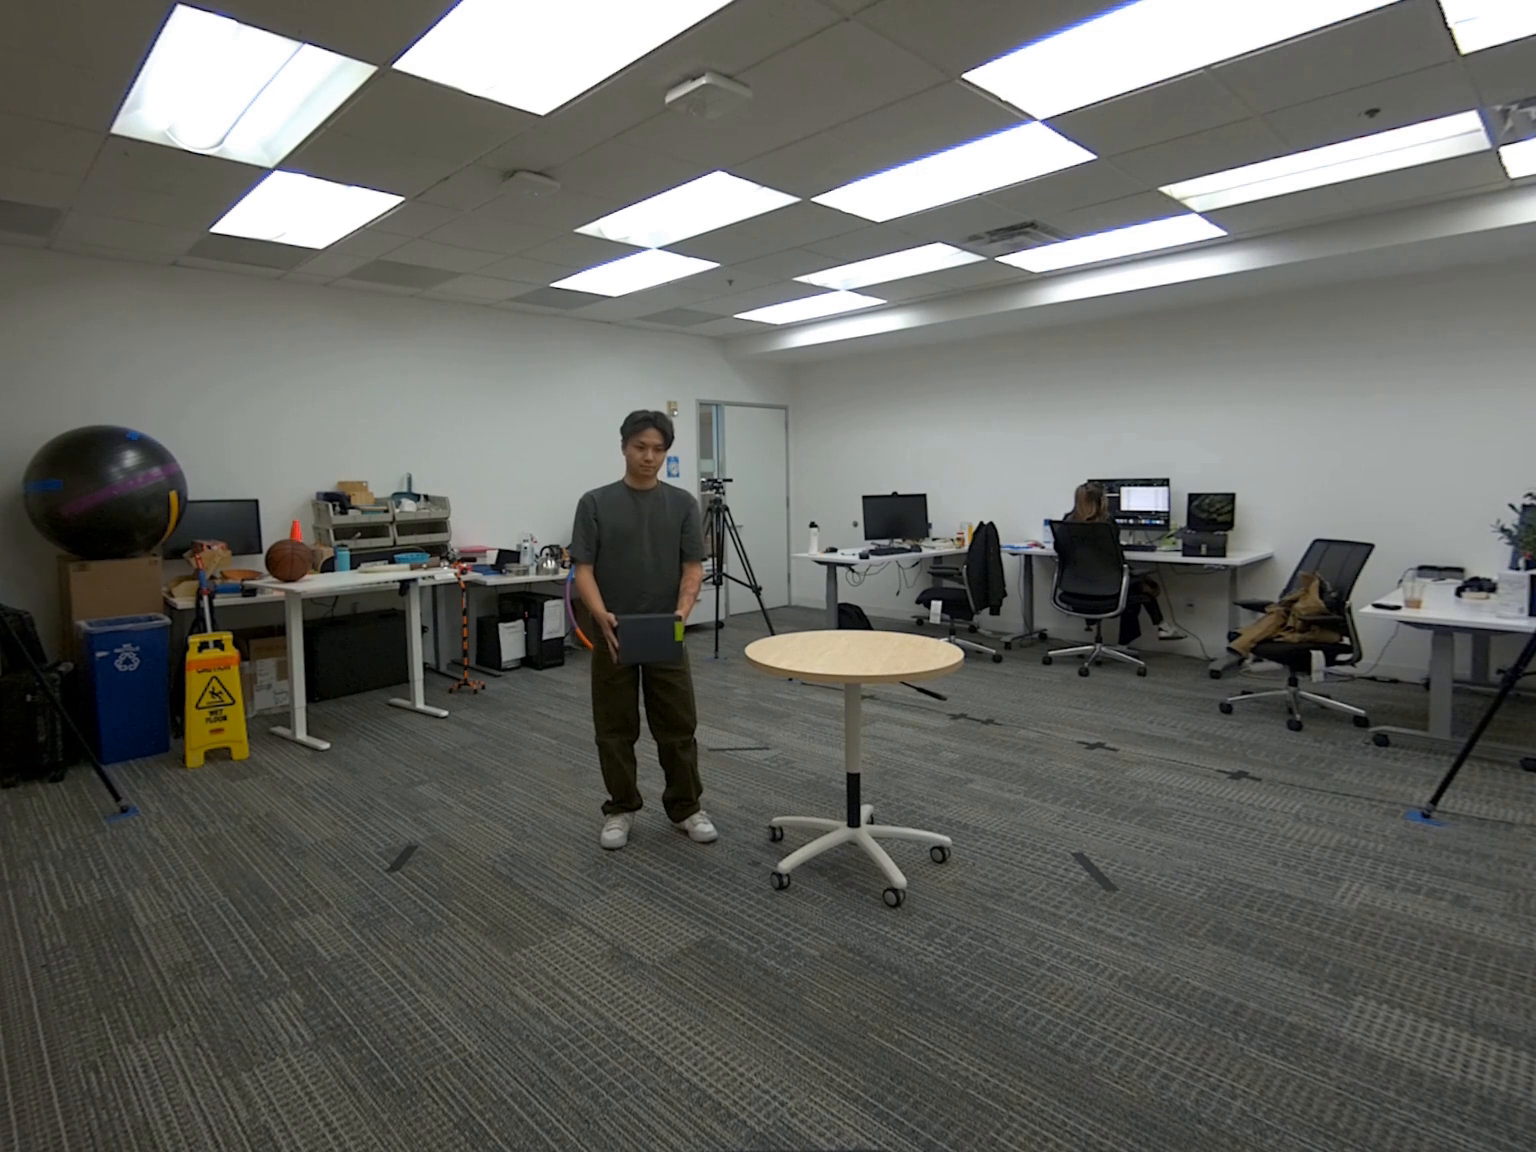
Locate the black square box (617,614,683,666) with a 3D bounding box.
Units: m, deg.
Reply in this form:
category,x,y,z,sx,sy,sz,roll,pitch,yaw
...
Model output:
category,x,y,z,sx,sy,sz,roll,pitch,yaw
black square box,-0.437,0.220,3.037,0.214,0.156,0.230,-2,0,-14
